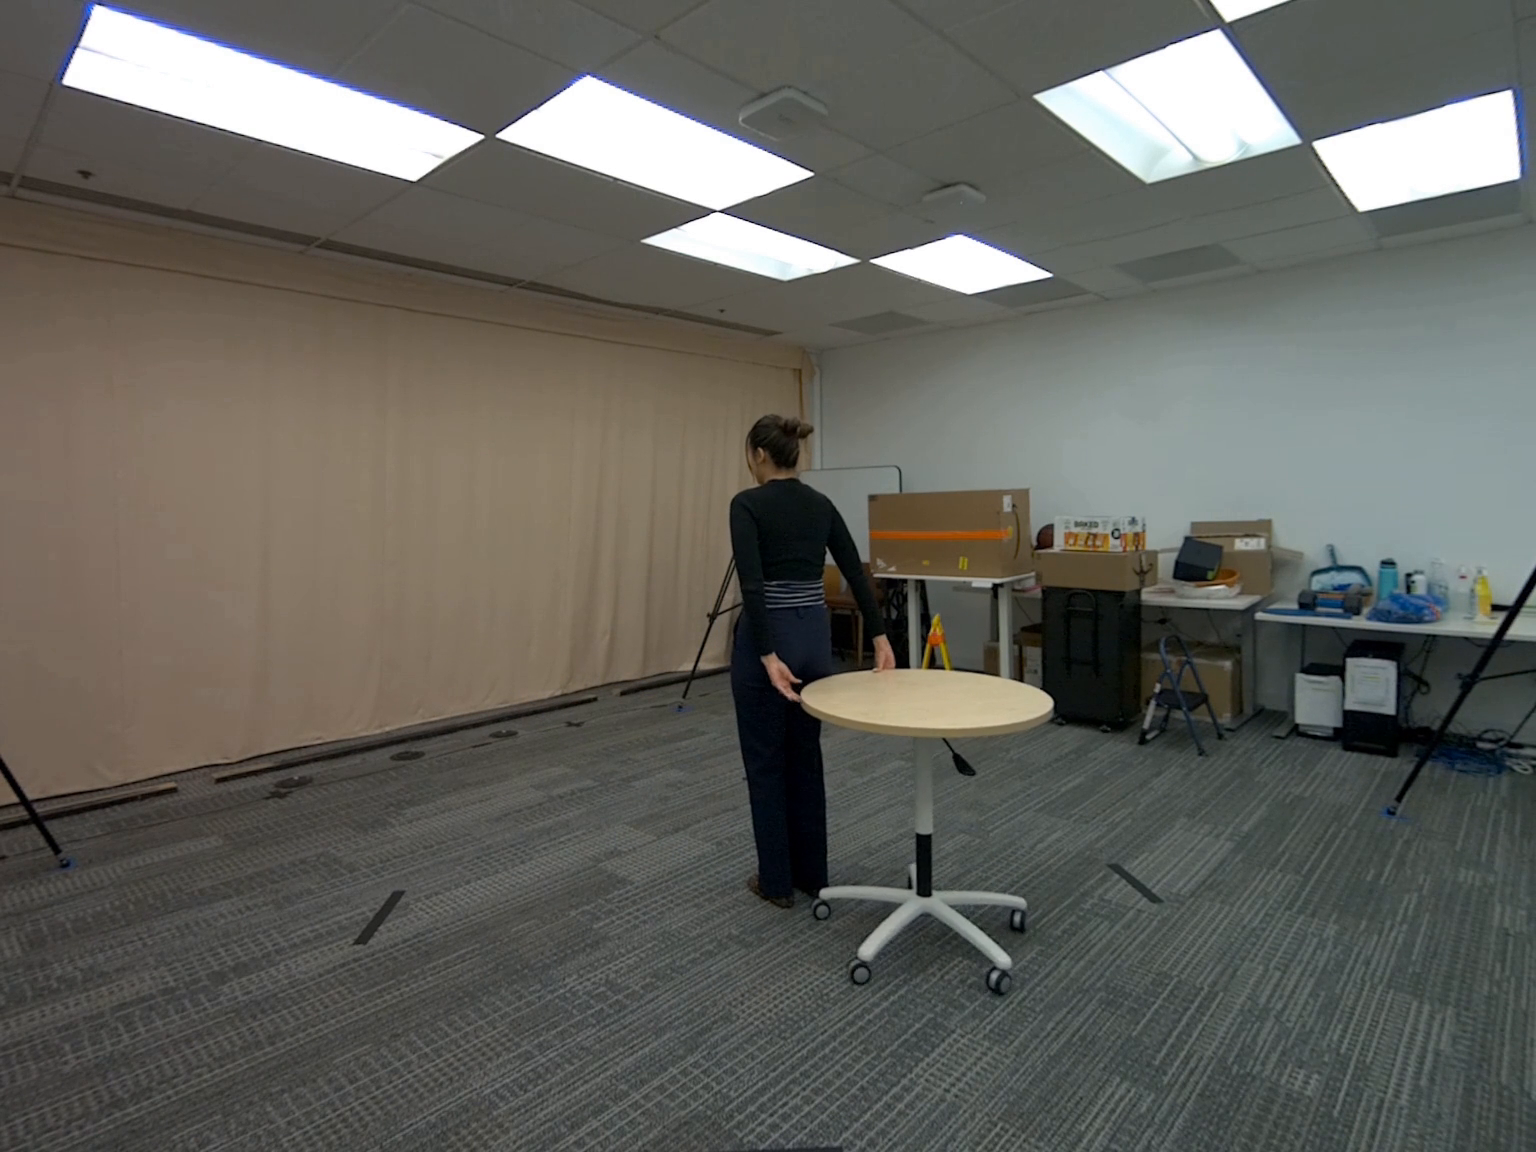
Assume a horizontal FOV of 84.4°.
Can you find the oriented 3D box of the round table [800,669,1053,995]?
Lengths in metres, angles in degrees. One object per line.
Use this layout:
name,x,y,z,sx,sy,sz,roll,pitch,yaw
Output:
round table,0.500,0.768,2.671,0.763,0.792,0.767,-1,4,-2
